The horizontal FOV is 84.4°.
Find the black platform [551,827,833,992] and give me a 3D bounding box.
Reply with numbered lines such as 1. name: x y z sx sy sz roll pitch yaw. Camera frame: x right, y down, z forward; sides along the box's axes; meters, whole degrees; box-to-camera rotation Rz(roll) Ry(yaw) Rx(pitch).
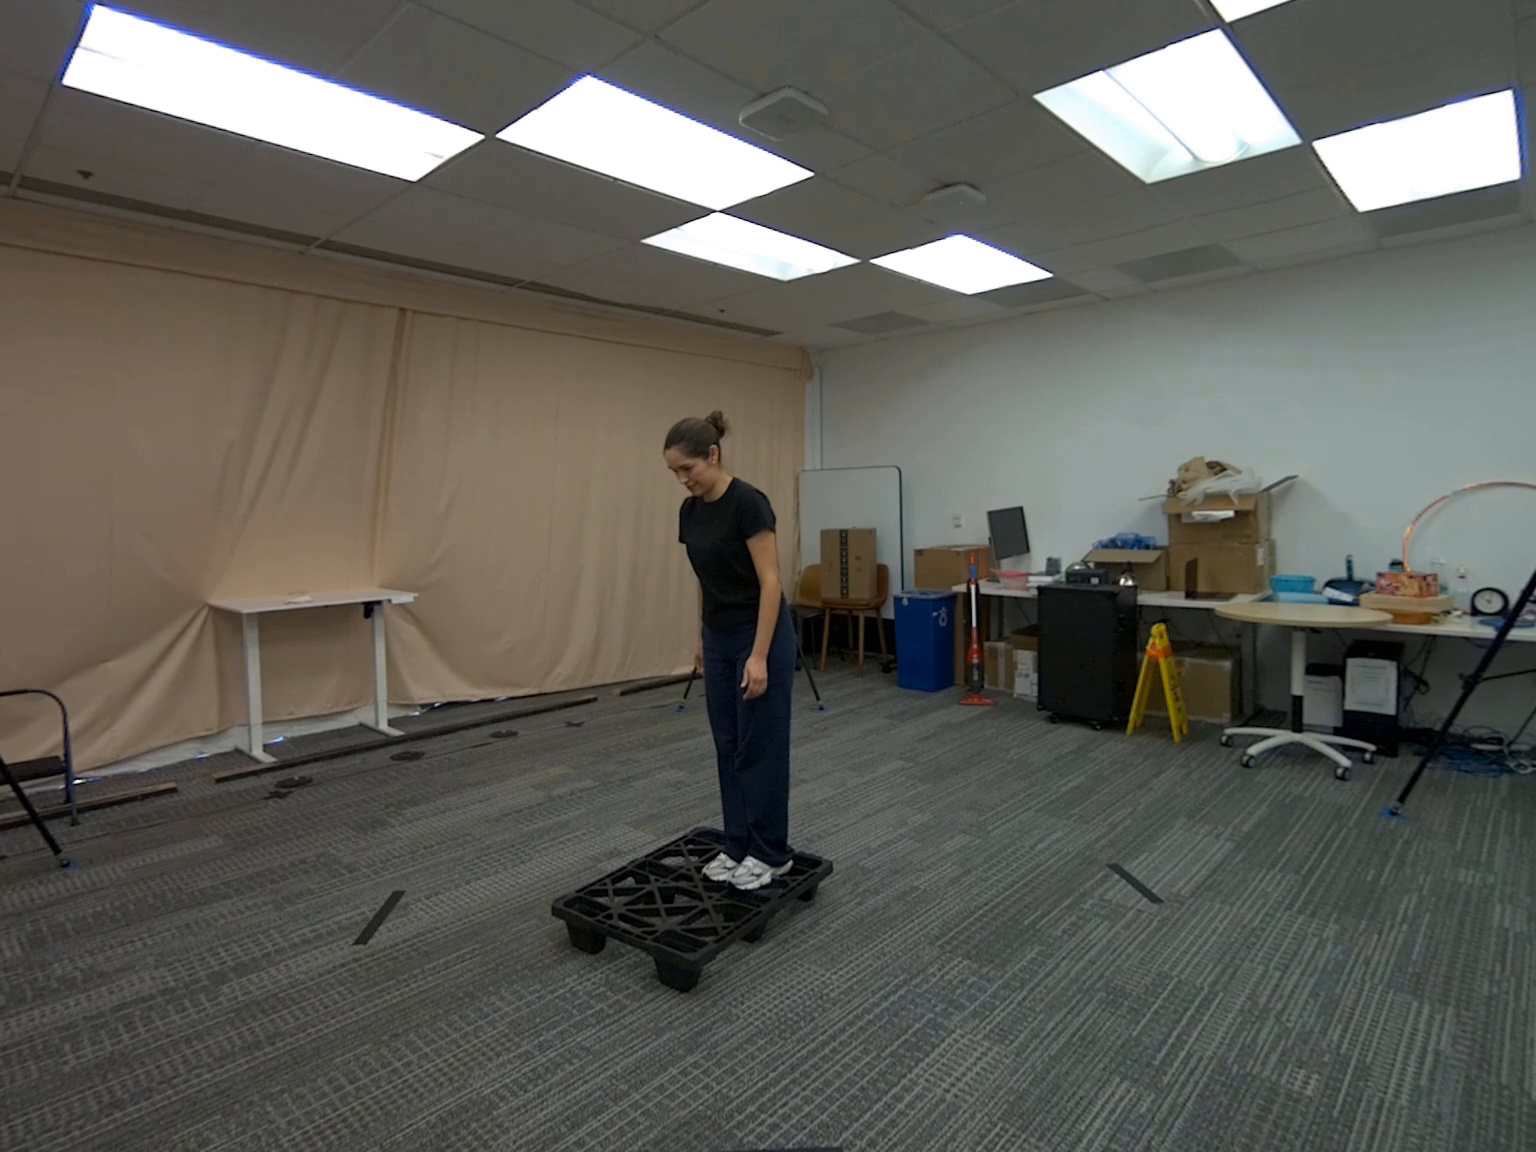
1. black platform: -0.212 1.091 2.828 0.624 0.143 0.783 3 6 35
